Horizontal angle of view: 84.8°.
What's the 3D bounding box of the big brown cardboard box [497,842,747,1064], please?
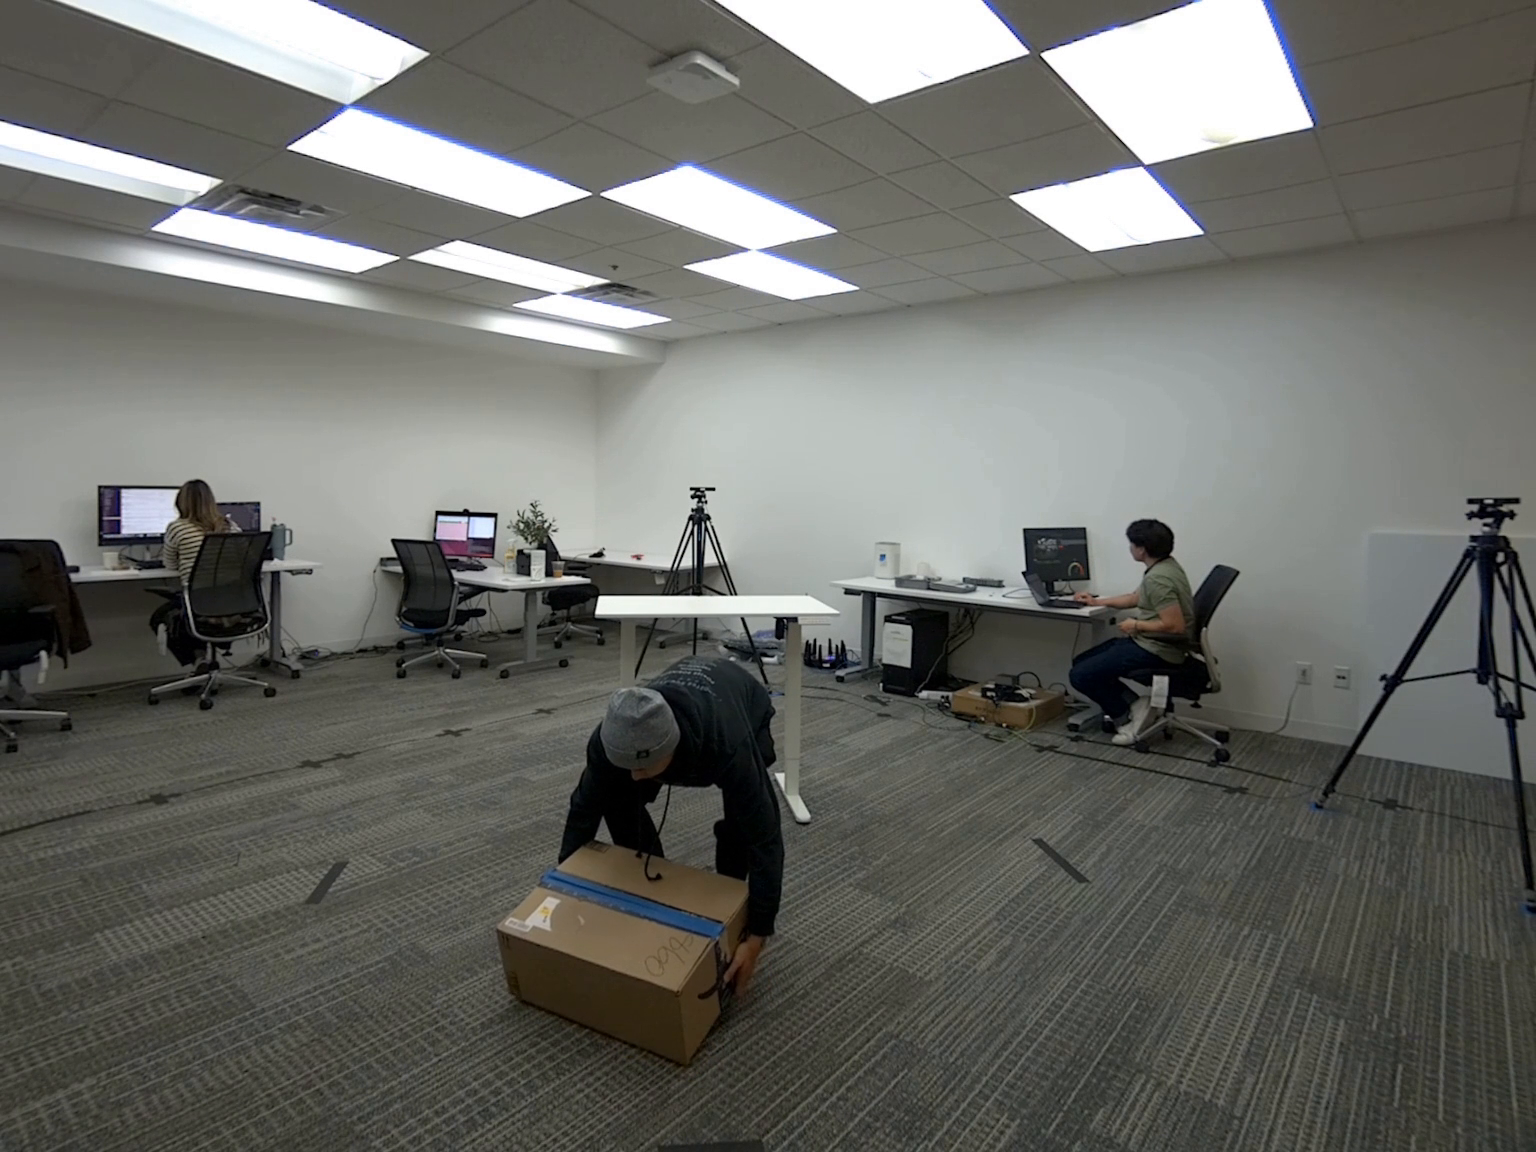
[{"bbox_3d":[-0.382,0.985,2.304,0.605,0.229,0.413,5,20,26],"label":"big brown cardboard box"}]
